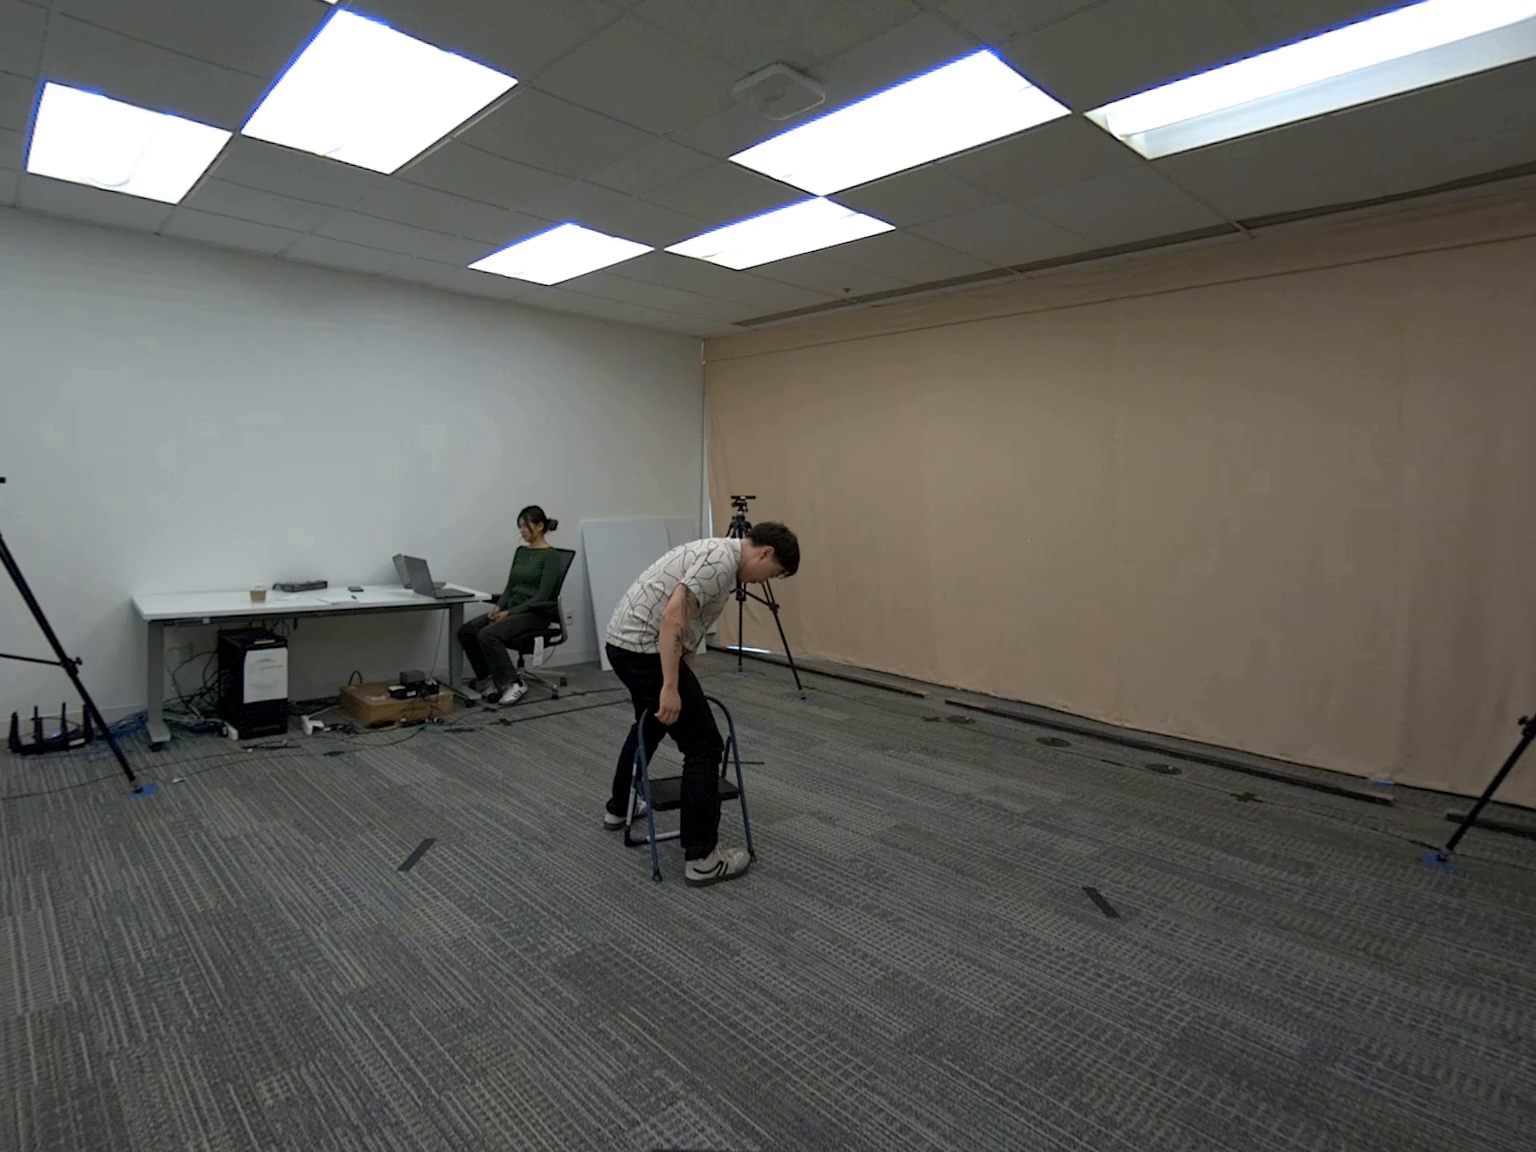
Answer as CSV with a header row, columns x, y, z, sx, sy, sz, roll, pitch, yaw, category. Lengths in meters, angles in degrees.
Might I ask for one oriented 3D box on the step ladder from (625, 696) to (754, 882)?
x,y,z,sx,sy,sz,roll,pitch,yaw,category
-0.312,0.780,3.271,0.422,0.604,0.357,-1,4,-29,step ladder
